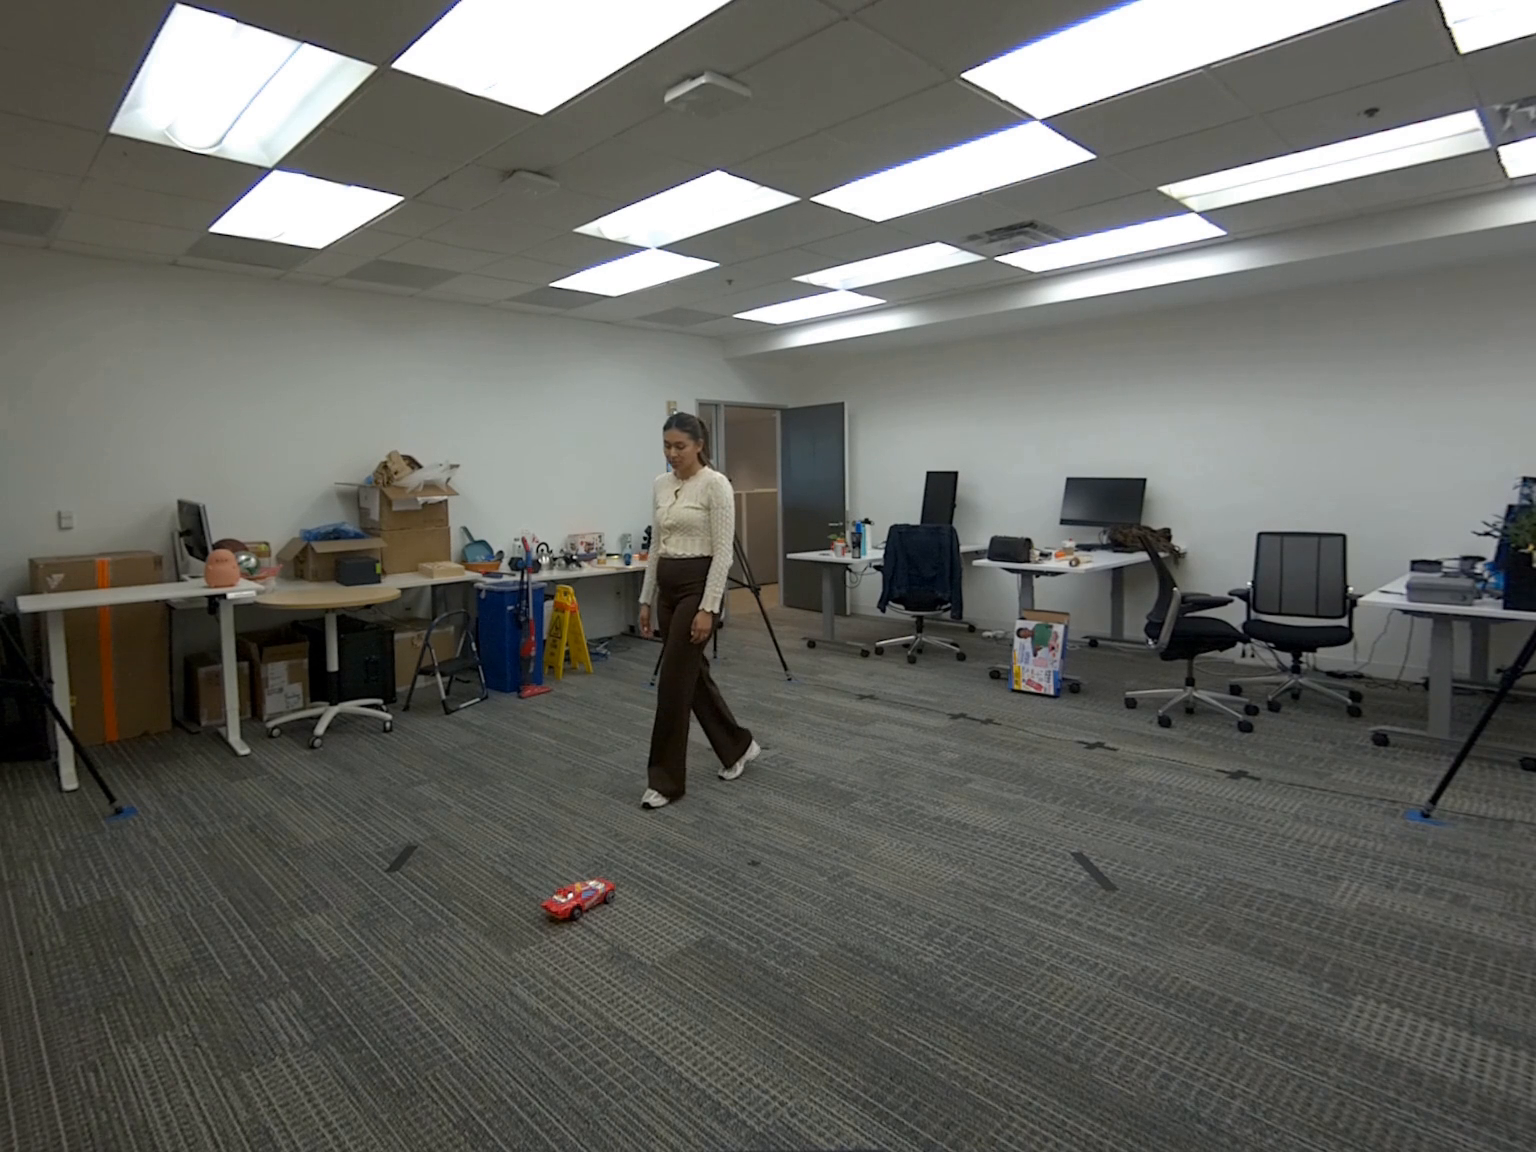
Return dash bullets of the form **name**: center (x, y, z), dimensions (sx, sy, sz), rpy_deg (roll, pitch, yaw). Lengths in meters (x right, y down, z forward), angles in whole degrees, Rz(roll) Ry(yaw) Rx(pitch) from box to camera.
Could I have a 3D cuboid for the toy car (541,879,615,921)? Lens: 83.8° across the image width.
- **toy car**: center (-0.624, 1.059, 2.796), dimensions (0.134, 0.083, 0.246), rpy_deg (4, -3, 40)
